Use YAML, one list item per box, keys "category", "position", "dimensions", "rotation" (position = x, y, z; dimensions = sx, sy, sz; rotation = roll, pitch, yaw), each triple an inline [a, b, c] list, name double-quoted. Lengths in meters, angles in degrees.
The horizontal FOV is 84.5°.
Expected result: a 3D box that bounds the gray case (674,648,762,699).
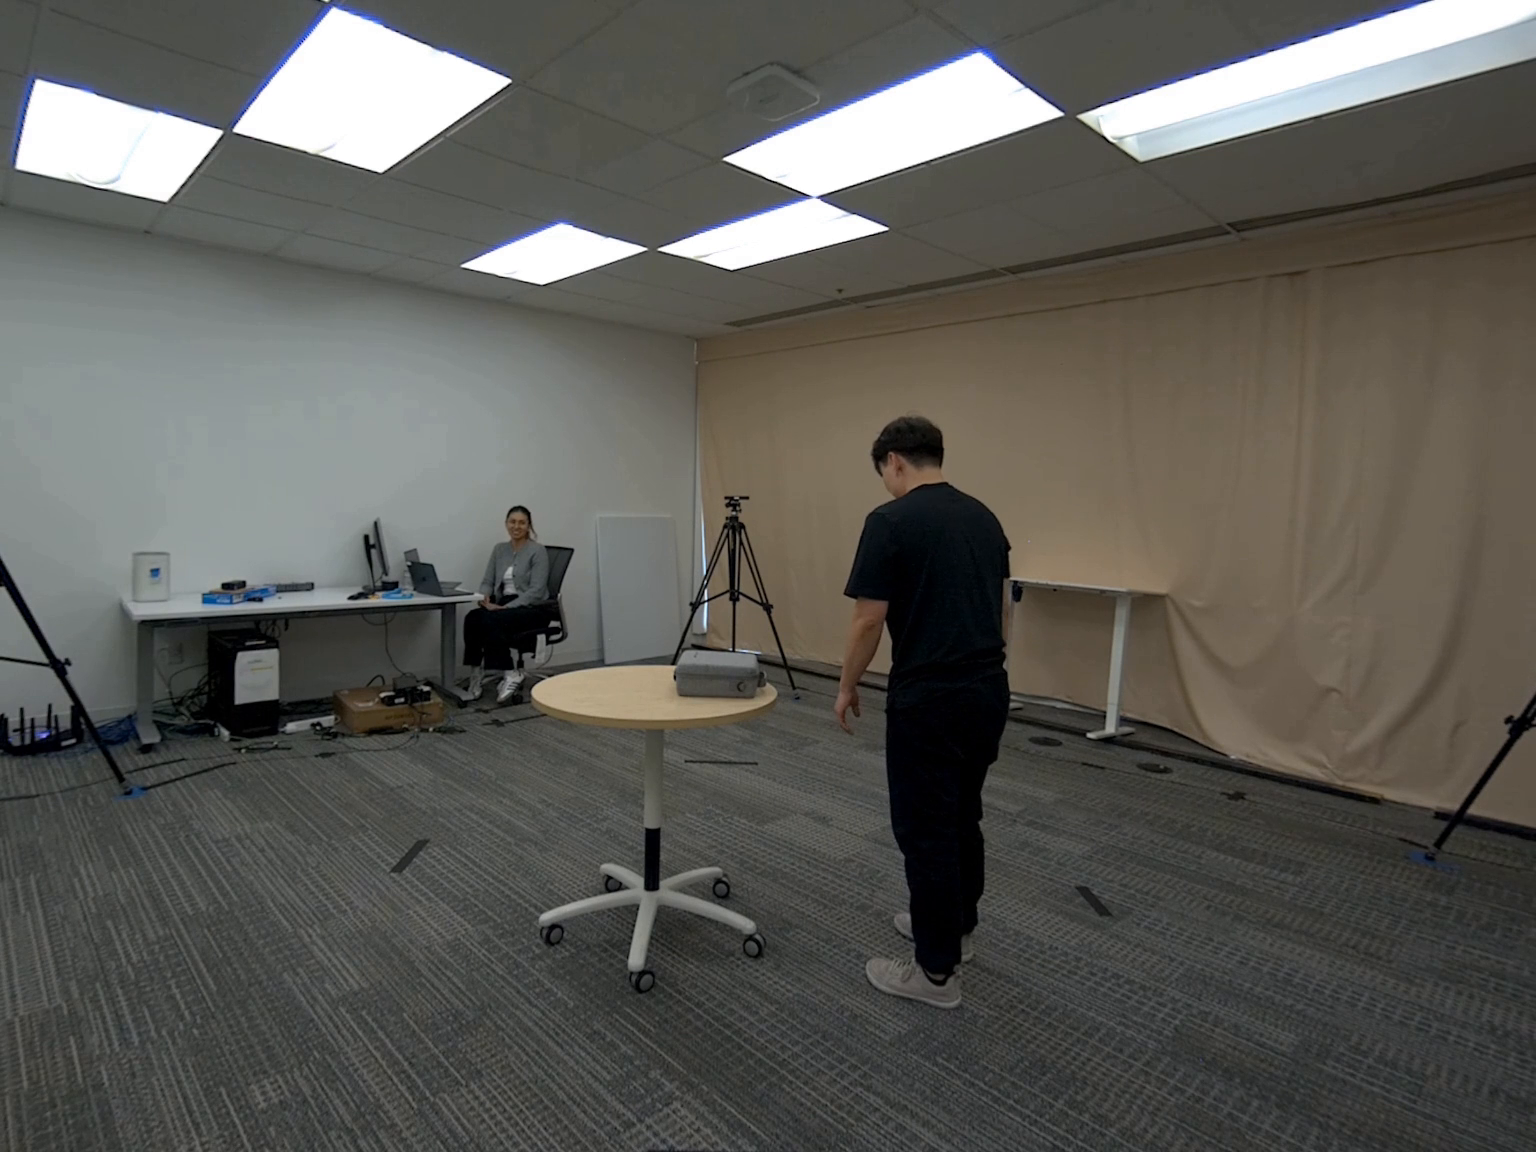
- category: "gray case"
  position: [-0.178, 0.308, 2.667]
  dimensions: [0.261, 0.104, 0.257]
  rotation: [3, 5, 0]
